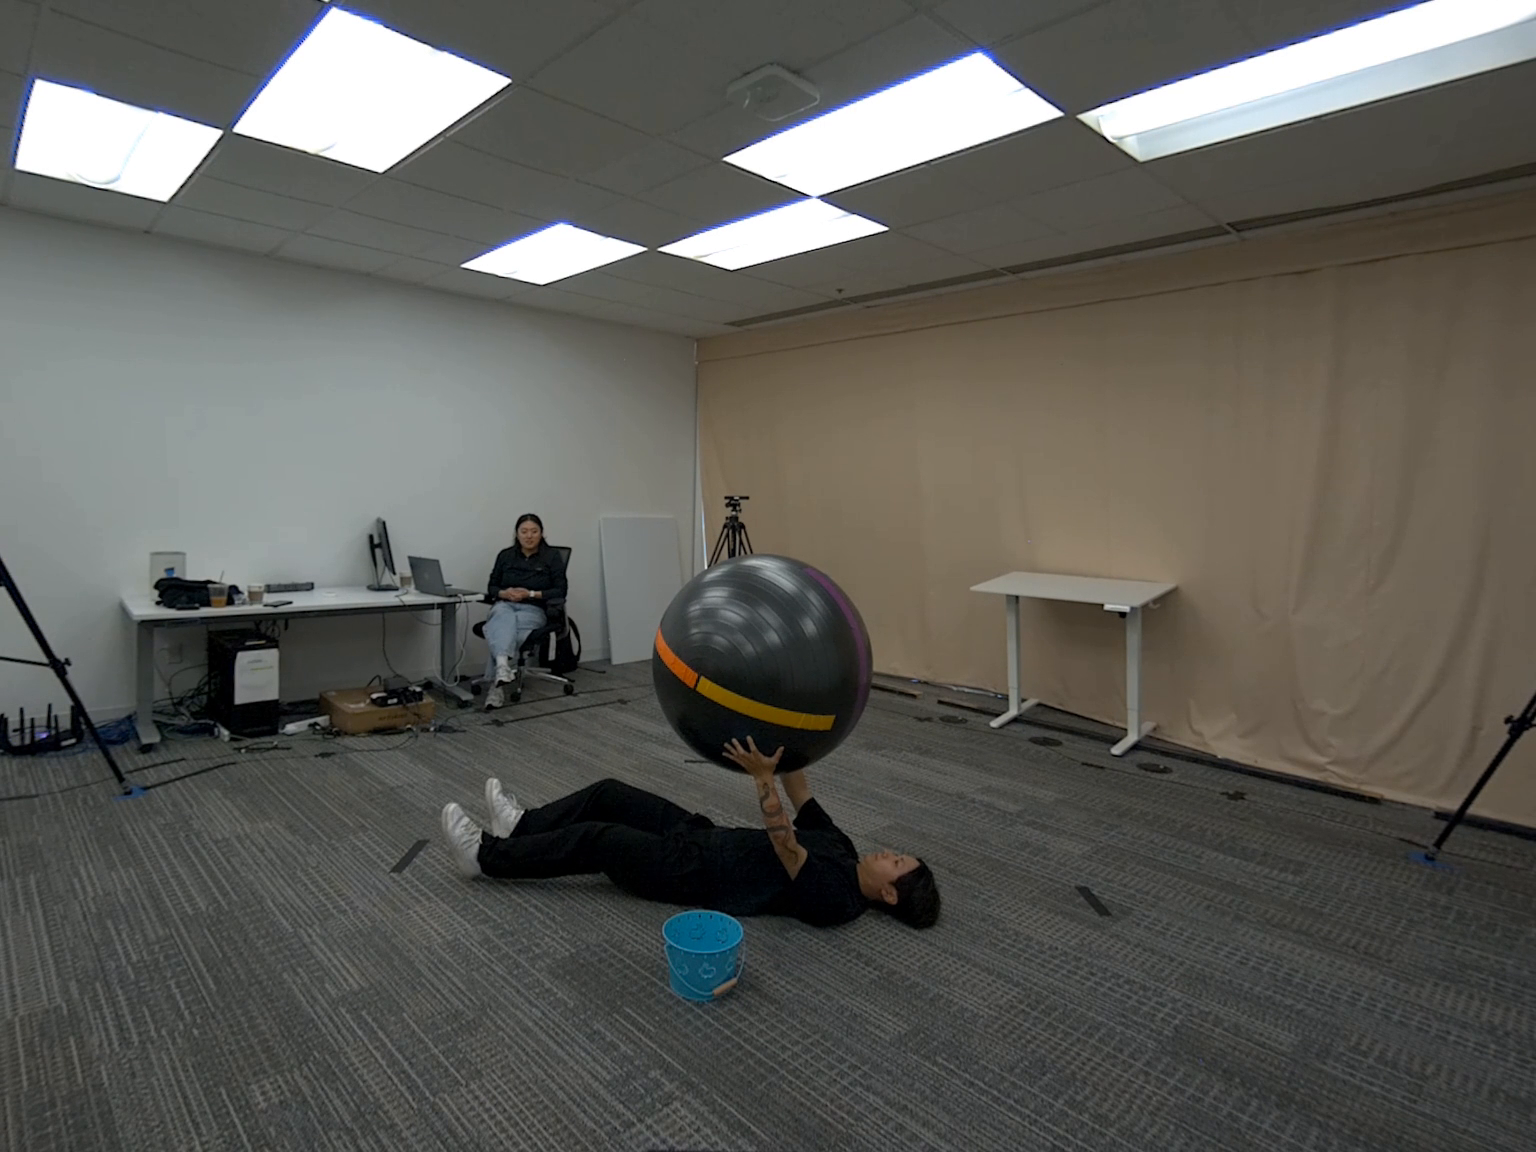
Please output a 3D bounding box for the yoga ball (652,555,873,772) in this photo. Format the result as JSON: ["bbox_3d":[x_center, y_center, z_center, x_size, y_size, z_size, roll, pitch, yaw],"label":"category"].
[{"bbox_3d":[-0.021,0.310,2.928,0.757,0.756,0.761,1,4,-1],"label":"yoga ball"}]
